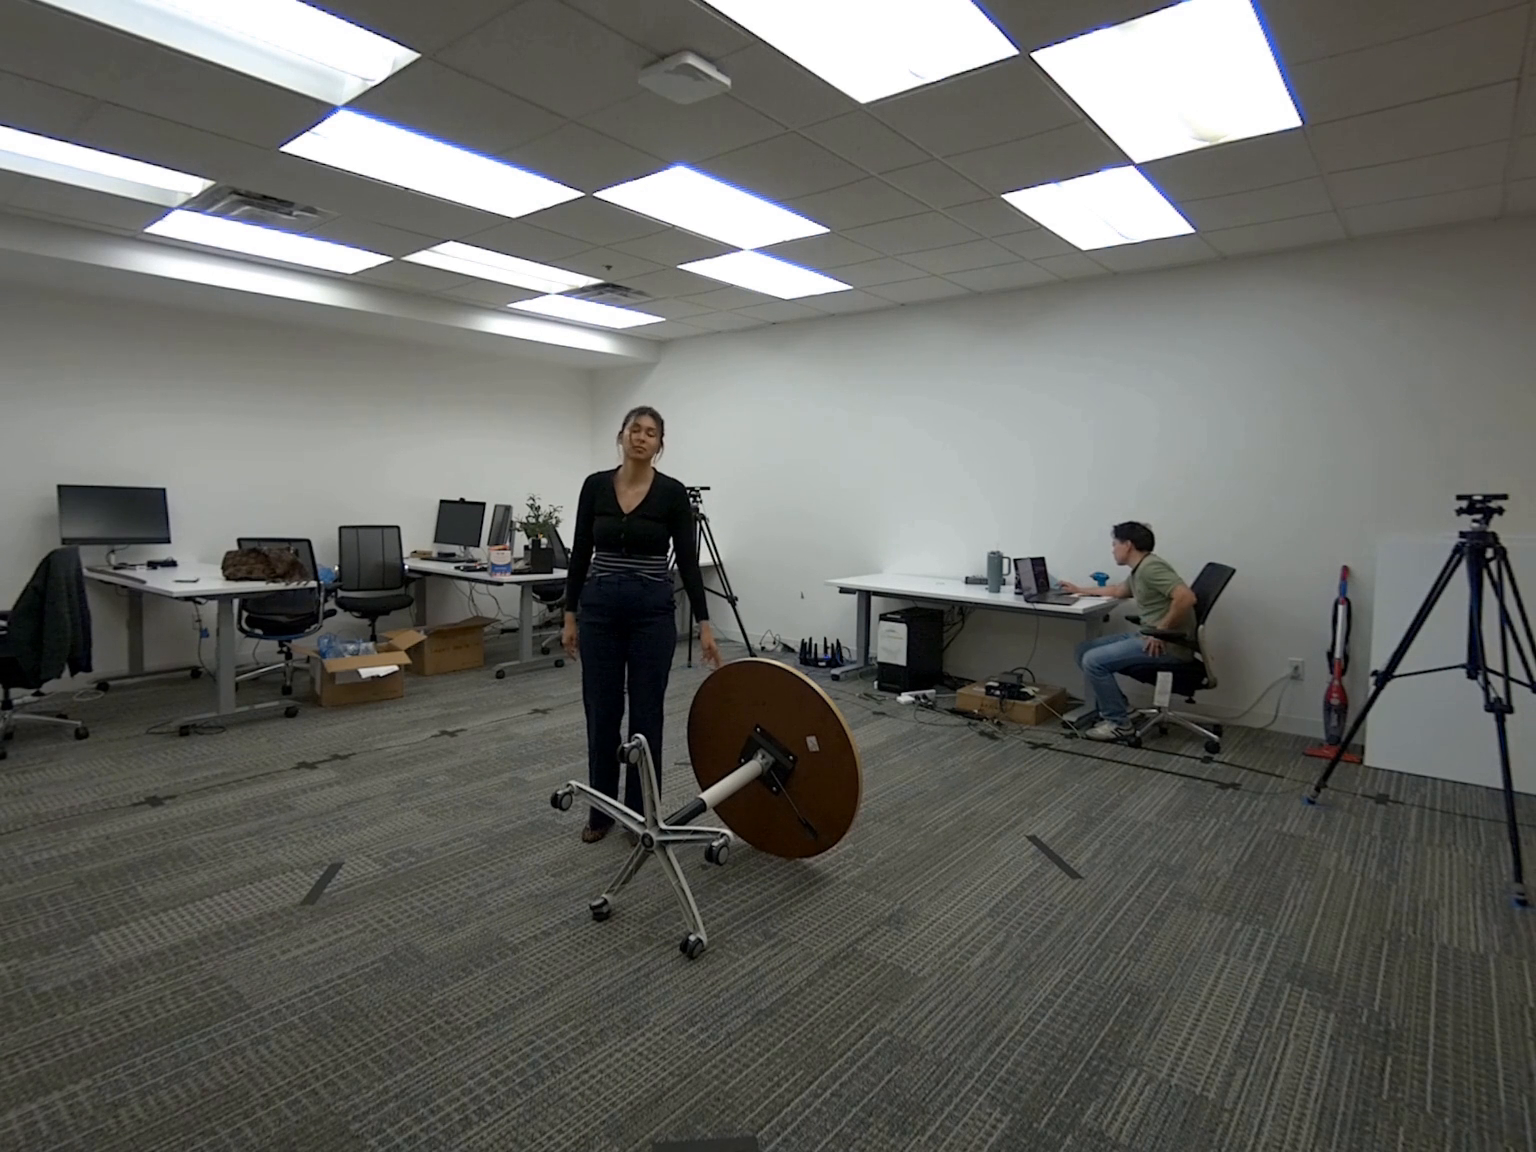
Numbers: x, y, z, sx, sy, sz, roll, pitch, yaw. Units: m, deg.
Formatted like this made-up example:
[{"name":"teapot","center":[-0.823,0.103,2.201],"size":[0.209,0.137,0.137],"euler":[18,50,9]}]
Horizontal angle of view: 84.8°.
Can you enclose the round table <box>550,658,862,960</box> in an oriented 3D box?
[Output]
[{"name":"round table","center":[-0.217,0.759,2.882],"size":[0.788,0.756,0.777],"euler":[4,12,35]}]
